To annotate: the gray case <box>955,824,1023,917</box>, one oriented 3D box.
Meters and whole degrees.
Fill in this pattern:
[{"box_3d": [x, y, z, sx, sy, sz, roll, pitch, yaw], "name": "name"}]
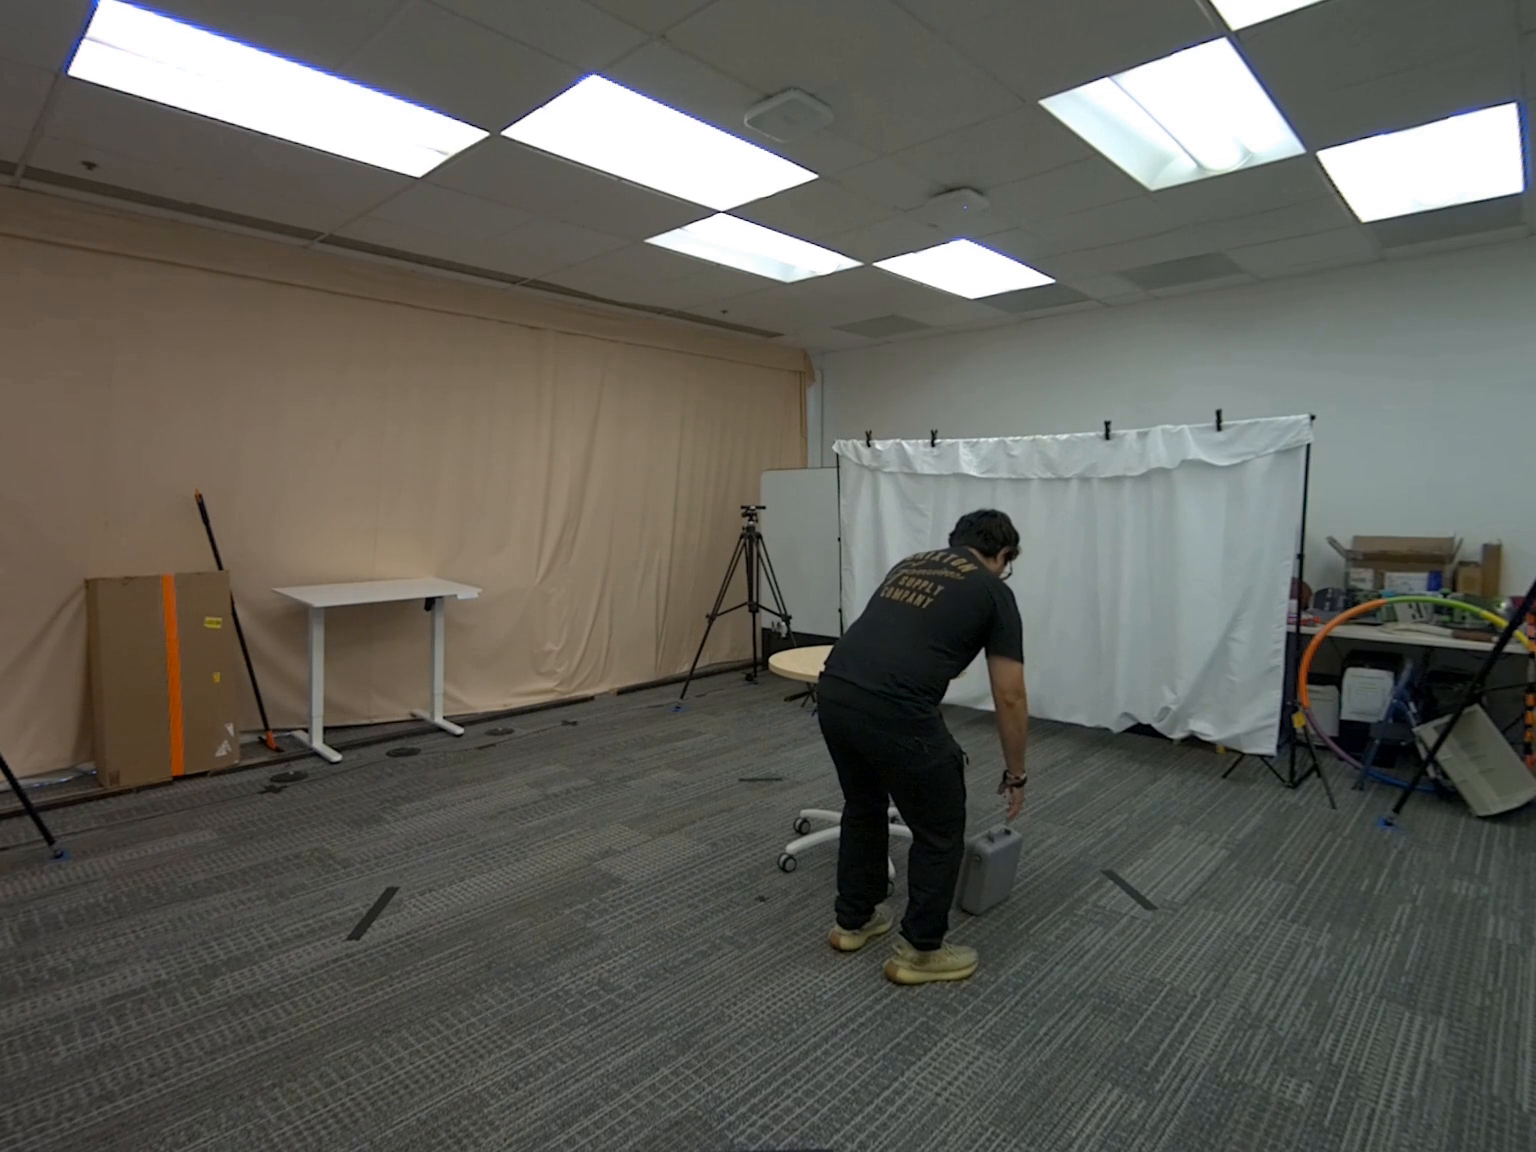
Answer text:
[{"box_3d": [0.776, 1.013, 2.930, 0.249, 0.259, 0.108, -2, 14, -43], "name": "gray case"}]
